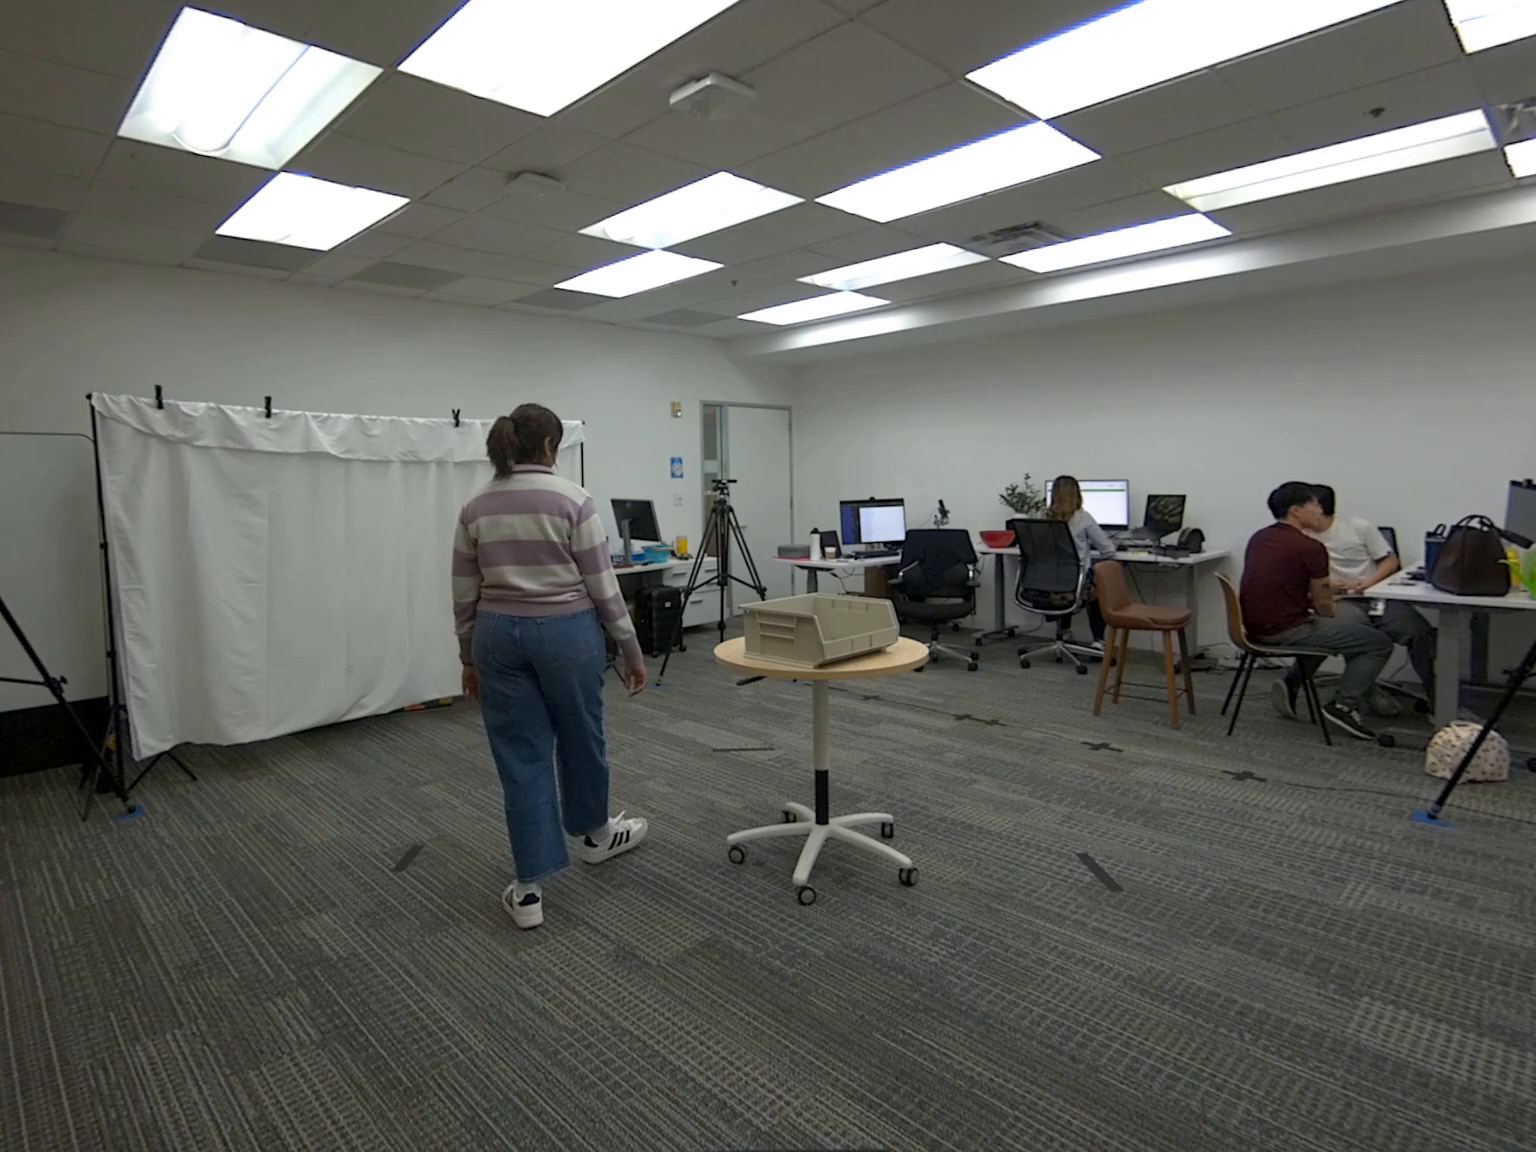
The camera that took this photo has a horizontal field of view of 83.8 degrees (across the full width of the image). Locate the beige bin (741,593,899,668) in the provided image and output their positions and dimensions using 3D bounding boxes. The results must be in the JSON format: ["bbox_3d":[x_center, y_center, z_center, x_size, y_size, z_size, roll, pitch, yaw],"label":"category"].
[{"bbox_3d":[0.187,0.185,2.969,0.388,0.188,0.411,1,6,44],"label":"beige bin"}]
